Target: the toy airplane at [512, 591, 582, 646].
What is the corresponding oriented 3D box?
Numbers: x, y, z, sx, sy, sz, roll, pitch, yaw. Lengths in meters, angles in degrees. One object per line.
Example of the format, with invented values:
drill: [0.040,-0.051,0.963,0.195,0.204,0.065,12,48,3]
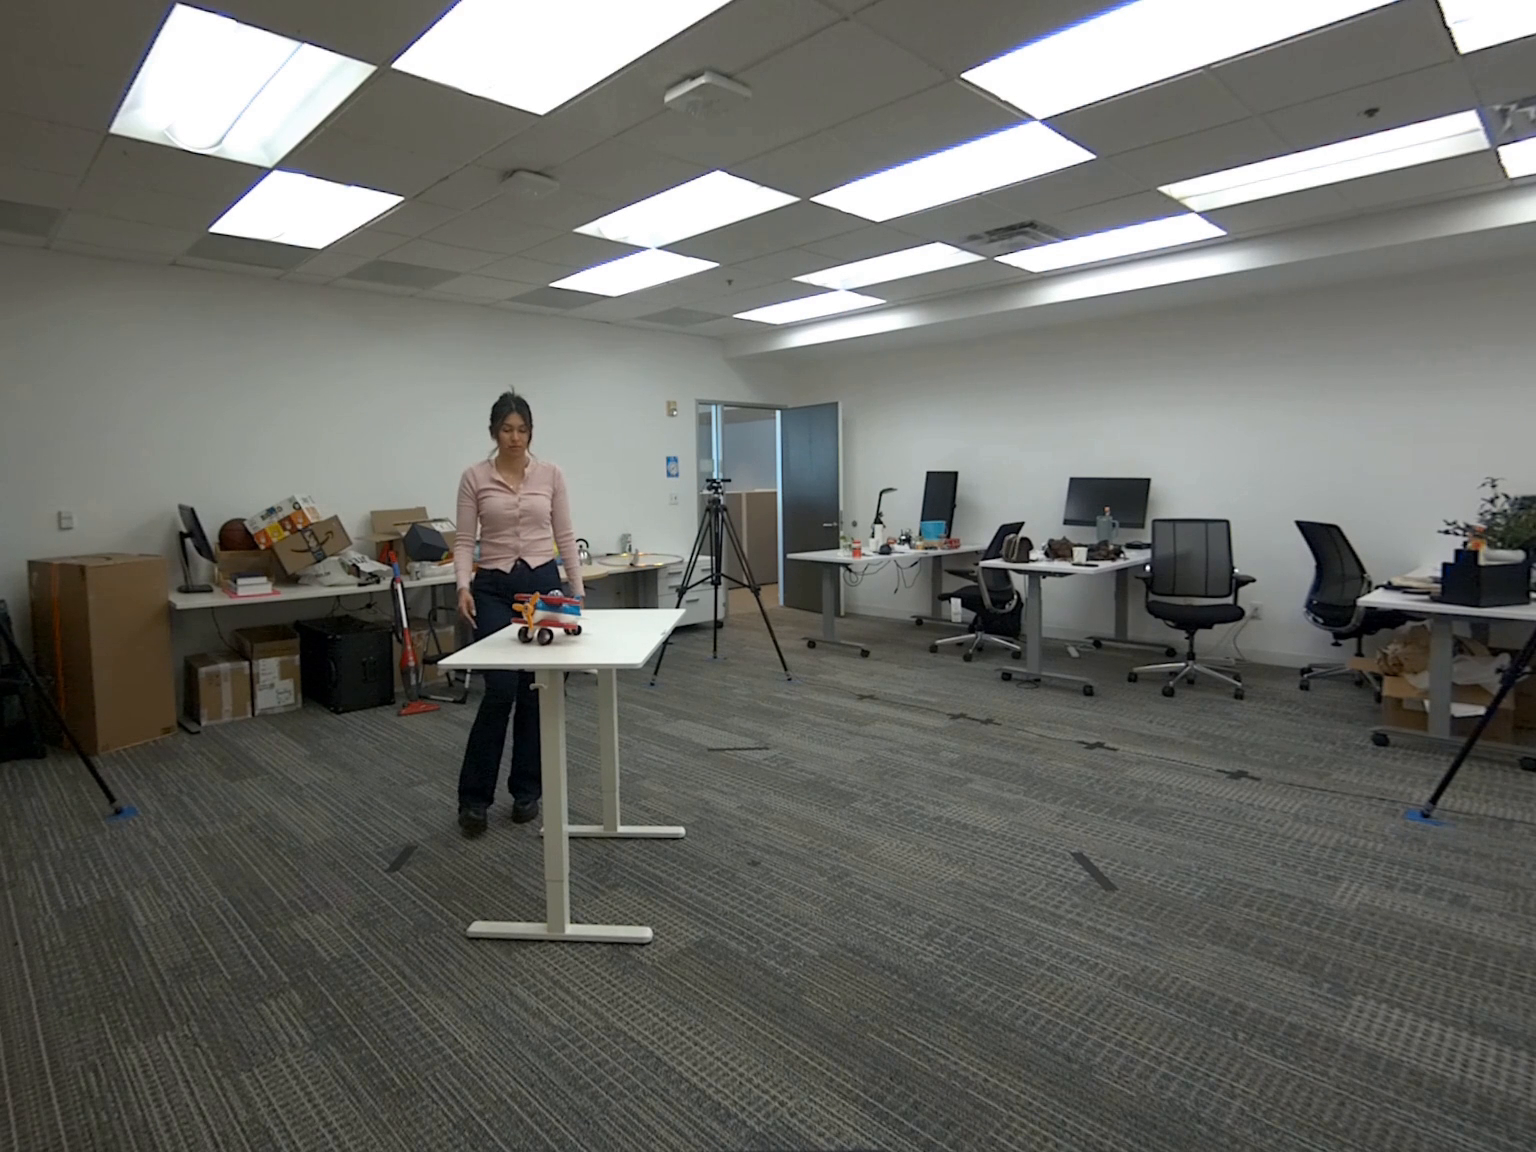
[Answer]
toy airplane: [-0.721,0.133,2.818,0.252,0.155,0.260,-1,6,2]
